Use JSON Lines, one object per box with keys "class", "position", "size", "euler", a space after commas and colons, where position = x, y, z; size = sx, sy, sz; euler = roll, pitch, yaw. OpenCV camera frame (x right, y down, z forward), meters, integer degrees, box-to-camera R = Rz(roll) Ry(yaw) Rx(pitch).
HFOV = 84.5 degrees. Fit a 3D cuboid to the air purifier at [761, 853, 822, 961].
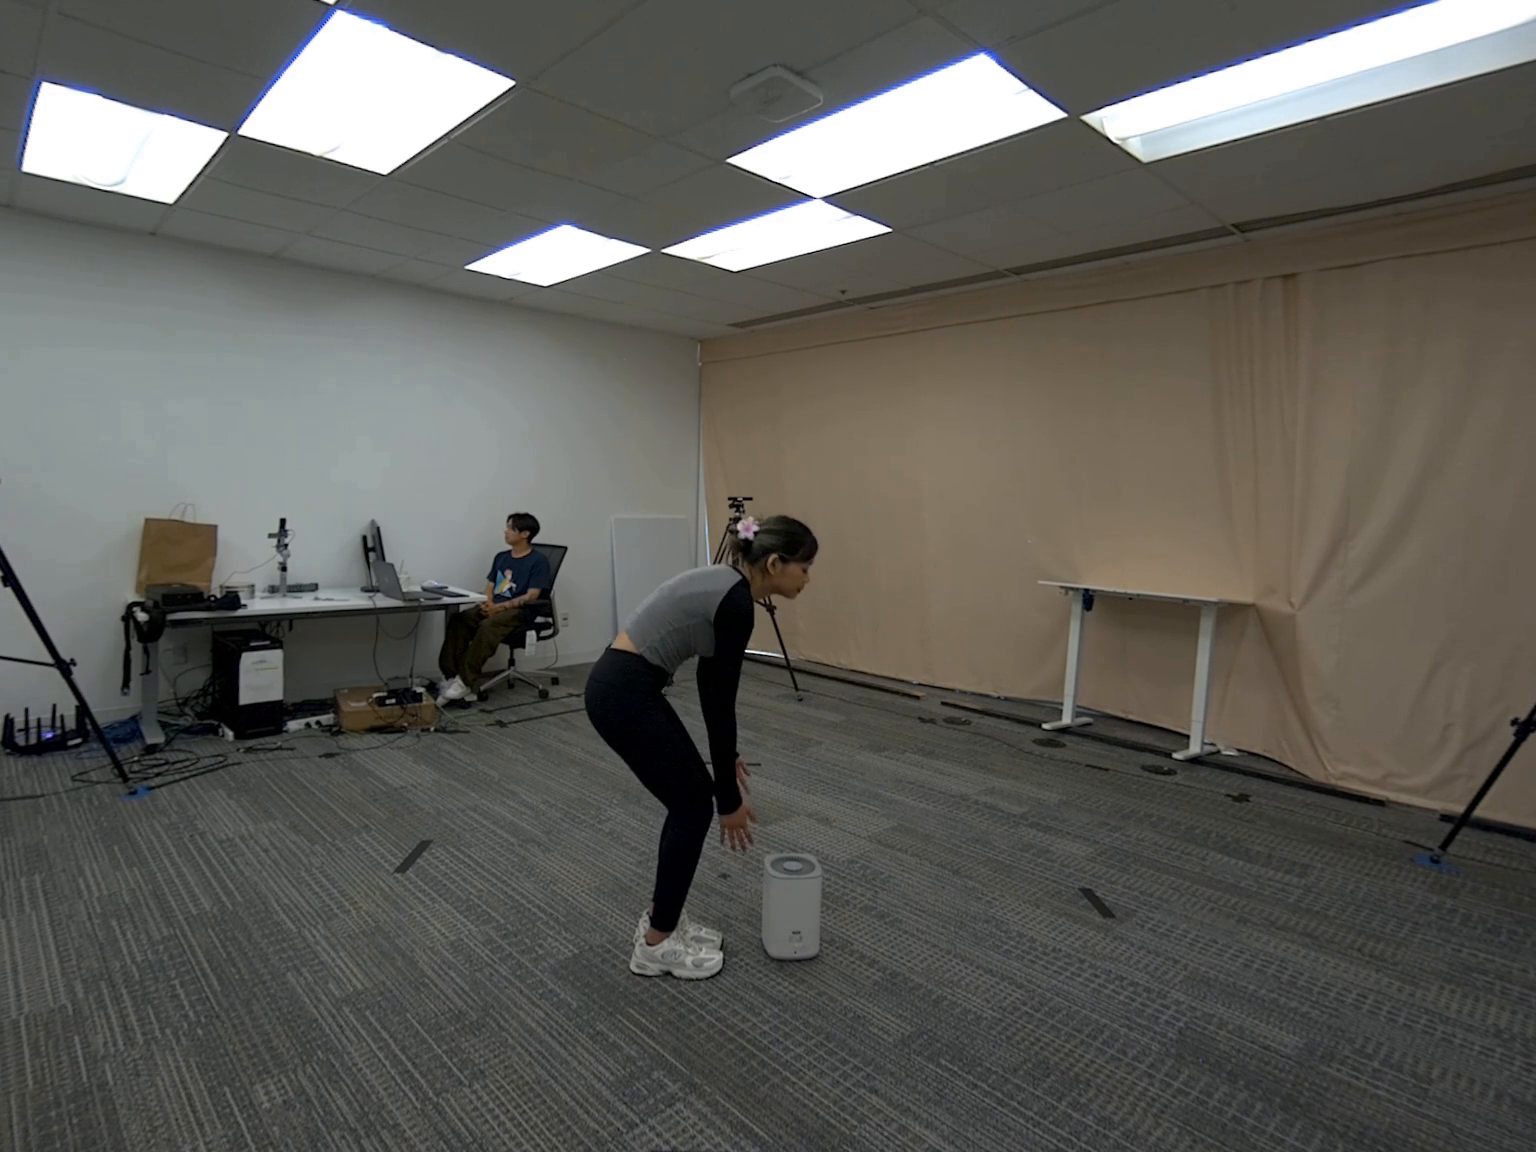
{"class": "air purifier", "position": [0.064, 1.023, 2.602], "size": [0.170, 0.264, 0.173], "euler": [2, 4, -10]}
